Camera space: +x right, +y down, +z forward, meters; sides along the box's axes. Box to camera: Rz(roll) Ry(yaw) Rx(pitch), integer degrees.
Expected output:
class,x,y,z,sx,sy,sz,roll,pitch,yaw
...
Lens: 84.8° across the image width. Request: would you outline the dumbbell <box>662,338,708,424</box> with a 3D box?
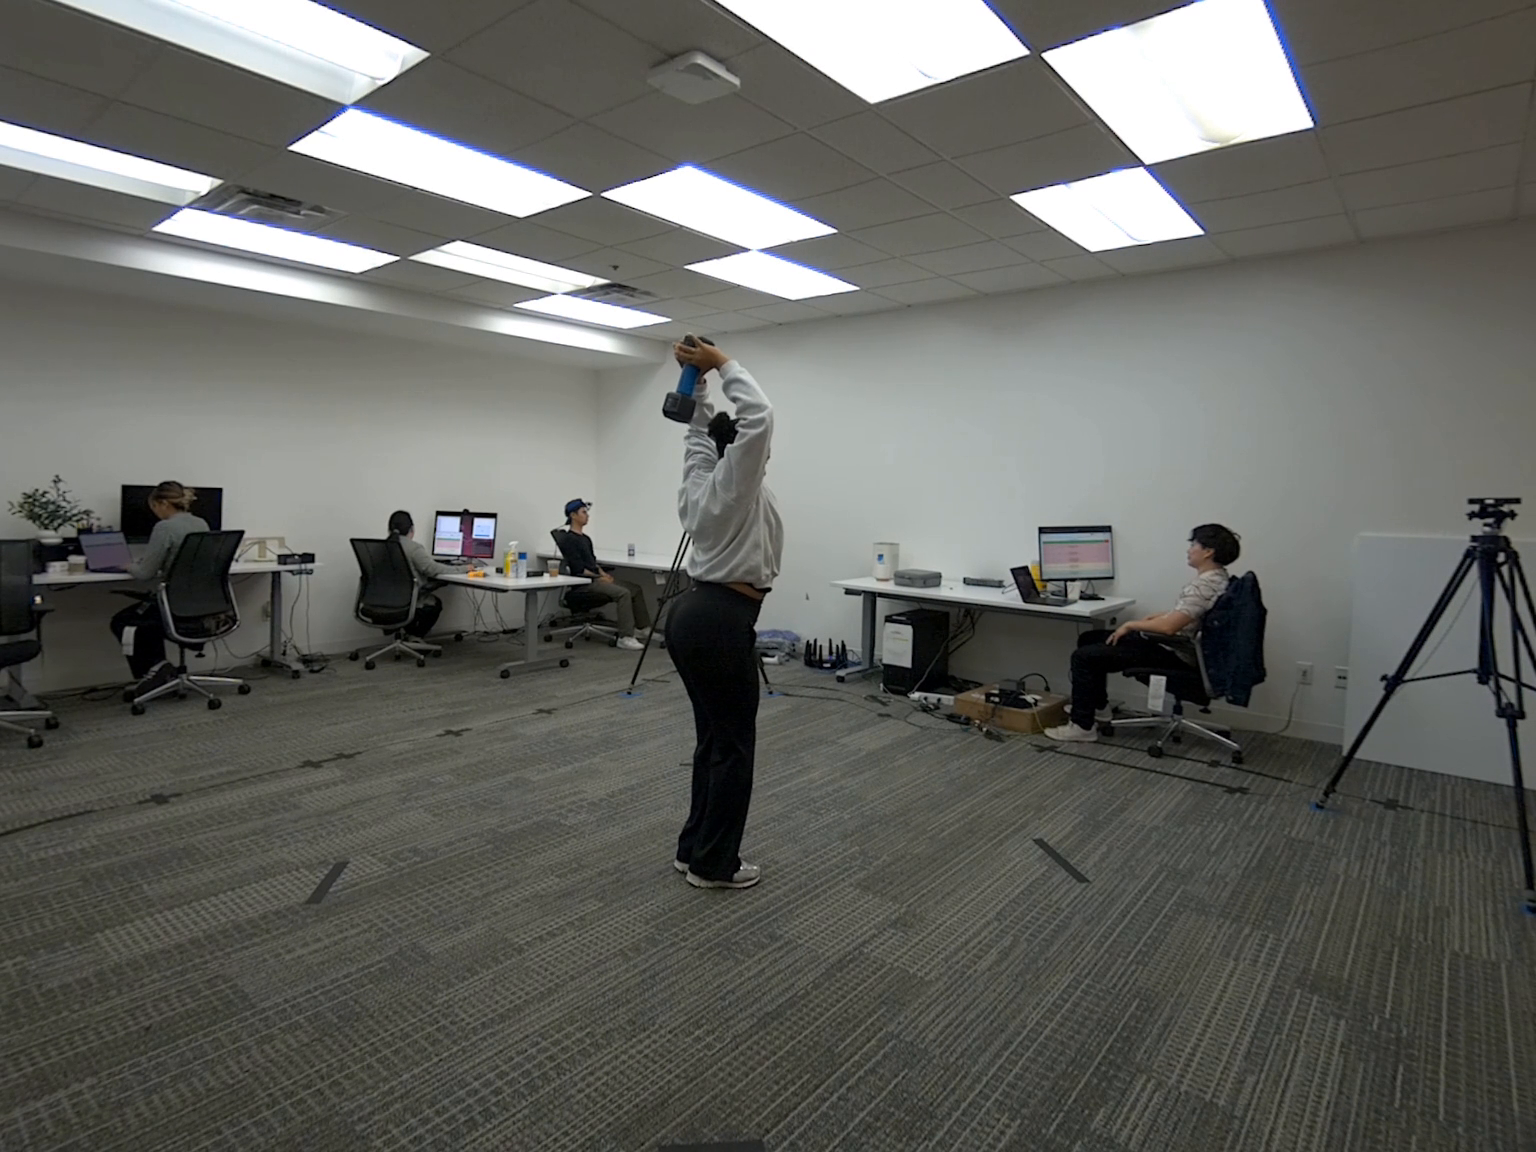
class,x,y,z,sx,sy,sz,roll,pitch,yaw
dumbbell,-0.290,-0.679,2.942,0.126,0.295,0.105,12,-8,25
